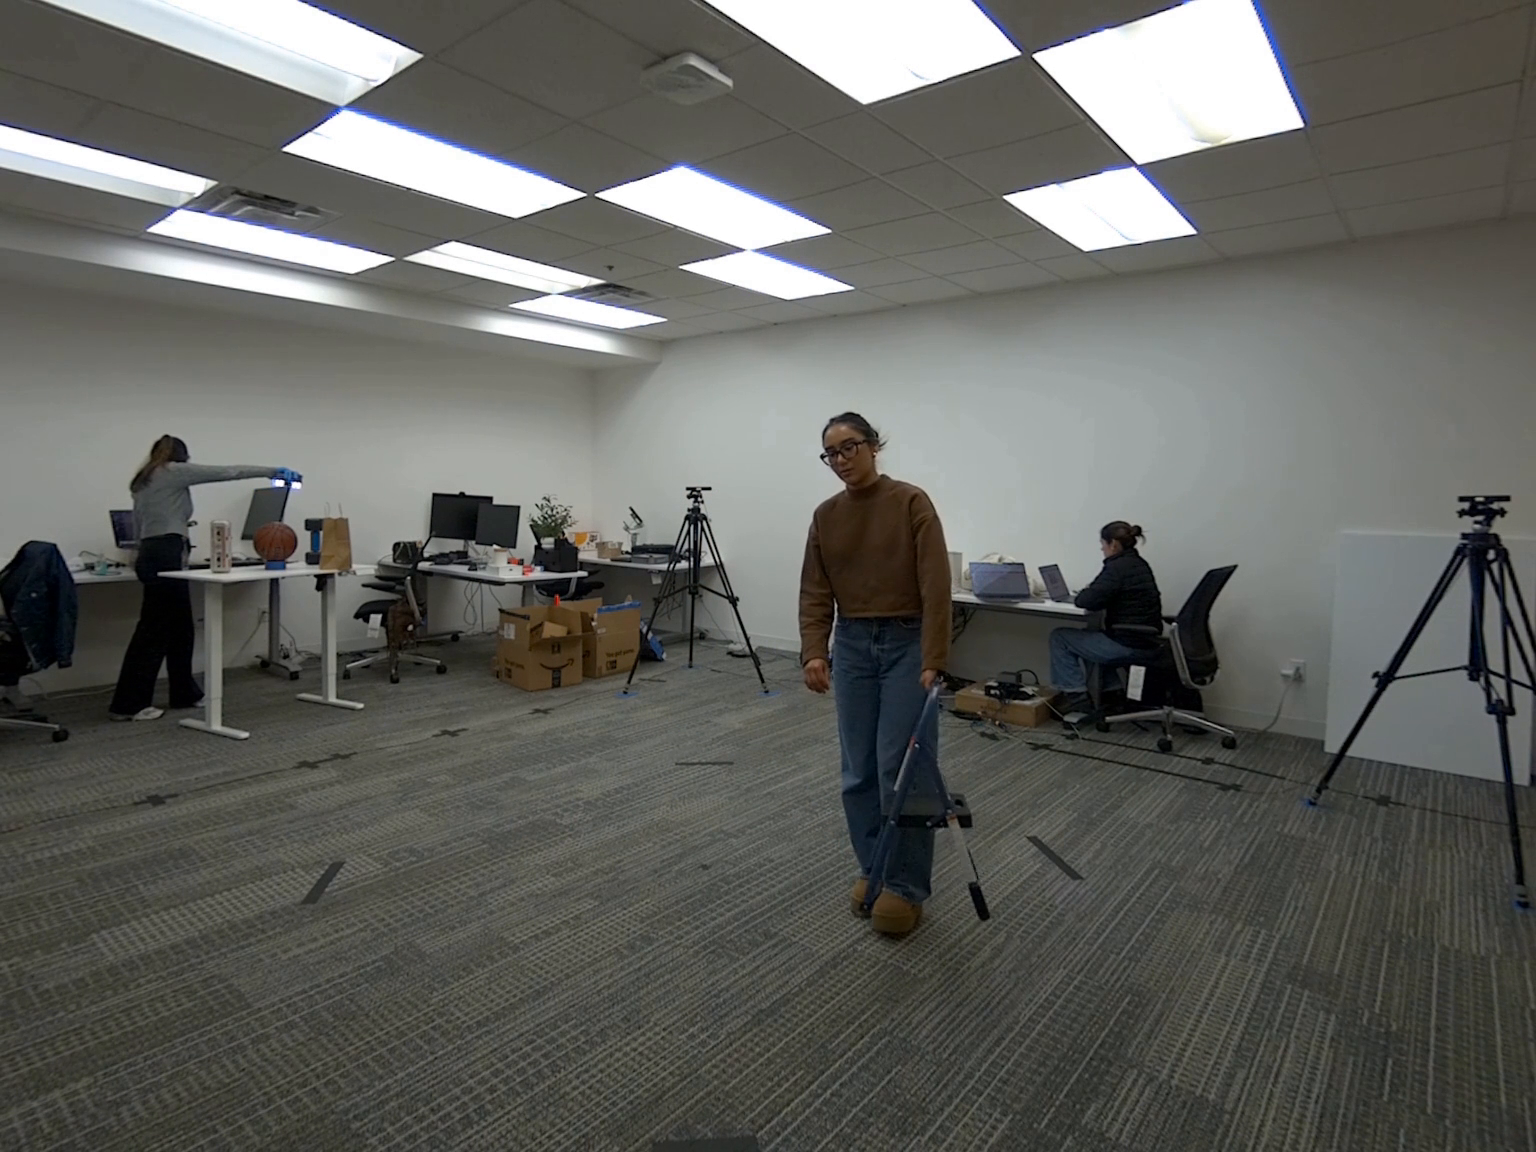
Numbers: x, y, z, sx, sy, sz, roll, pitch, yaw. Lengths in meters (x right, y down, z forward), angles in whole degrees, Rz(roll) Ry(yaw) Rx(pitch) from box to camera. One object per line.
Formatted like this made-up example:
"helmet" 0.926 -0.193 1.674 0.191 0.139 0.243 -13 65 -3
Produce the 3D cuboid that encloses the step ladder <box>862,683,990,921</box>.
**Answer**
"step ladder" 0.428 0.620 2.478 0.353 0.611 0.423 -4 -7 9
